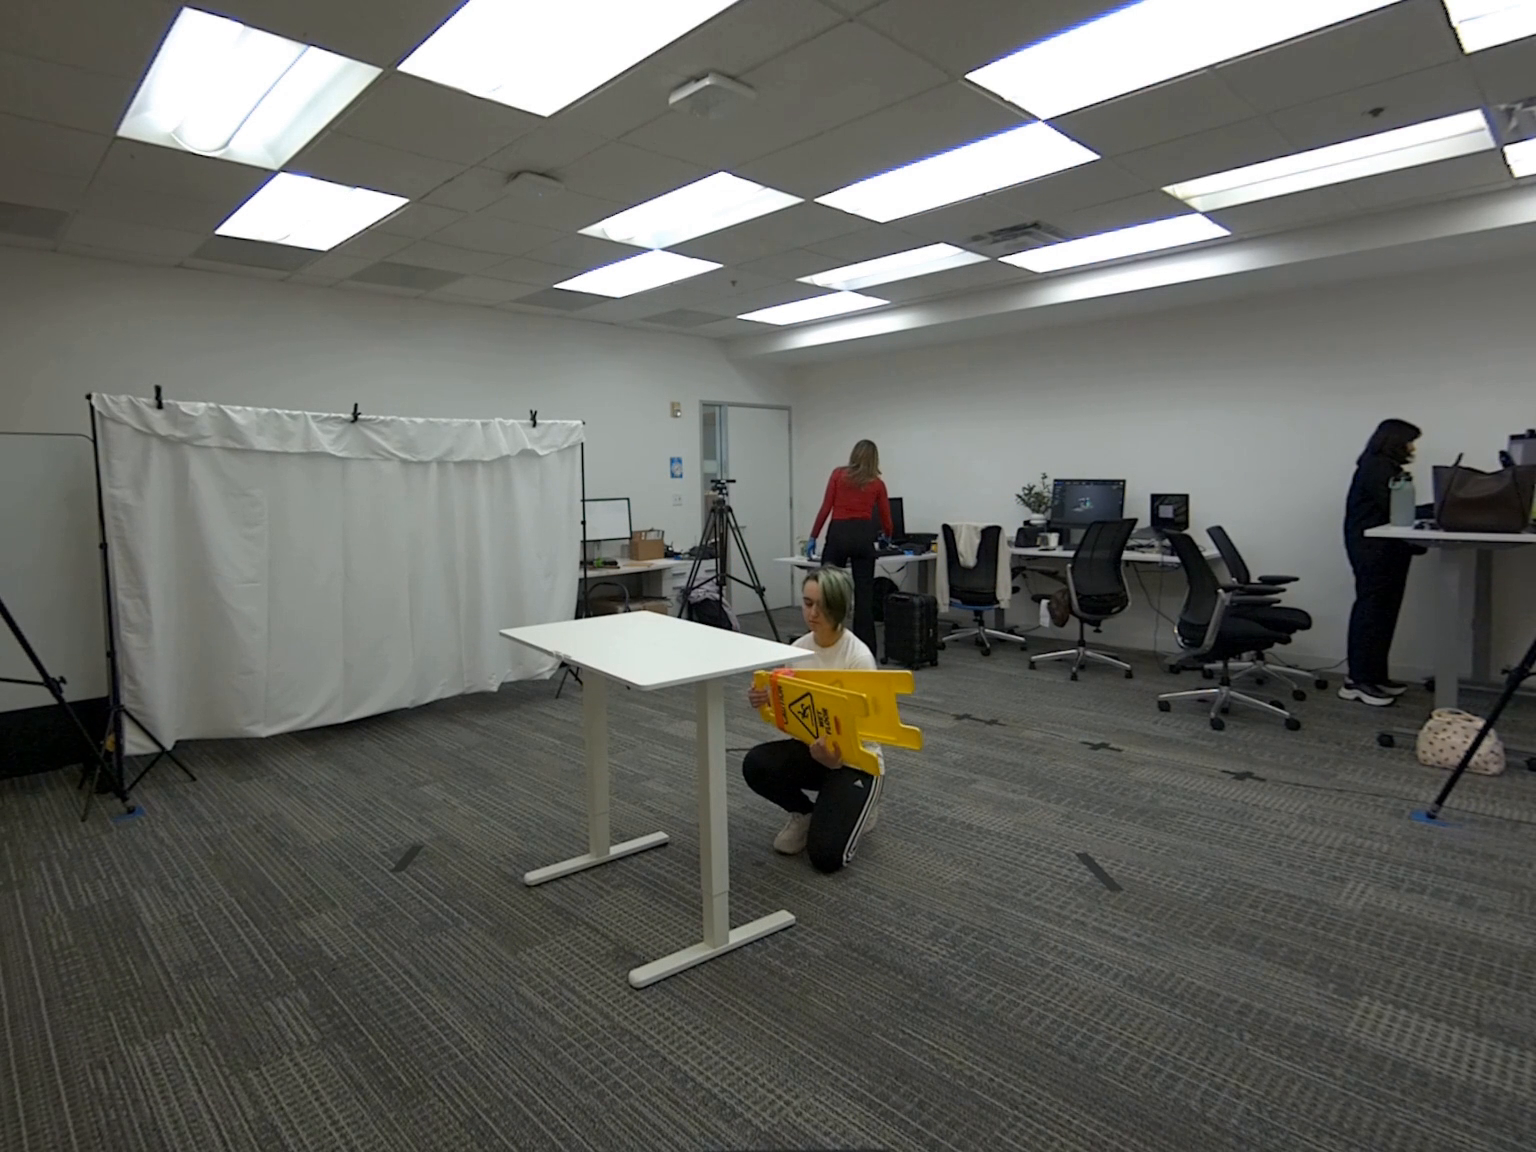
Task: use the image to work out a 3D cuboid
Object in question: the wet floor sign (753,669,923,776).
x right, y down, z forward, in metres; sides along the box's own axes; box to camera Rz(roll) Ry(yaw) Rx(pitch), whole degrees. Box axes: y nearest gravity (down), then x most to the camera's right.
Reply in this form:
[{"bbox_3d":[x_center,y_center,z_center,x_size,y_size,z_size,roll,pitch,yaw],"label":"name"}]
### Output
[{"bbox_3d":[0.190,0.472,3.046,0.284,0.280,0.665,-17,13,-42],"label":"wet floor sign"}]
